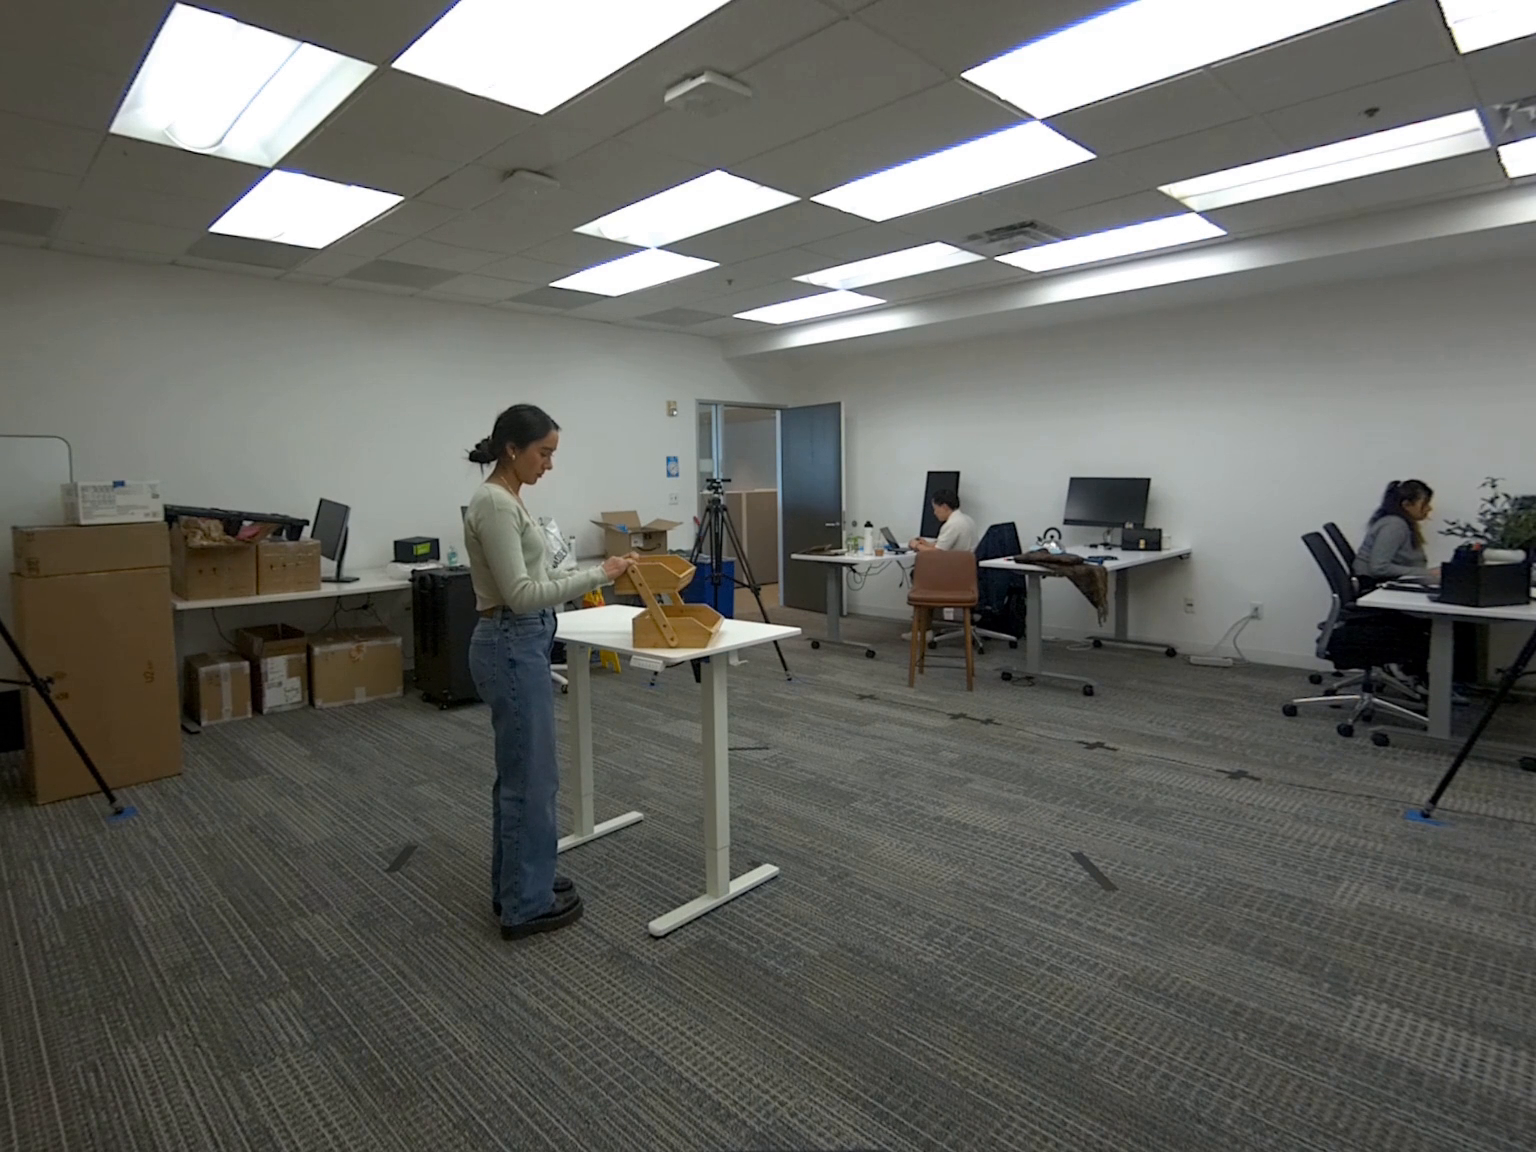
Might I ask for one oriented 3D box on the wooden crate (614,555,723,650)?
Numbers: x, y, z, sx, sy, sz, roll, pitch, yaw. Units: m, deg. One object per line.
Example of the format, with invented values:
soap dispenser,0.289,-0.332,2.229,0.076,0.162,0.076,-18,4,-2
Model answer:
wooden crate,-0.310,0.073,2.751,0.304,0.272,0.324,-1,5,5
